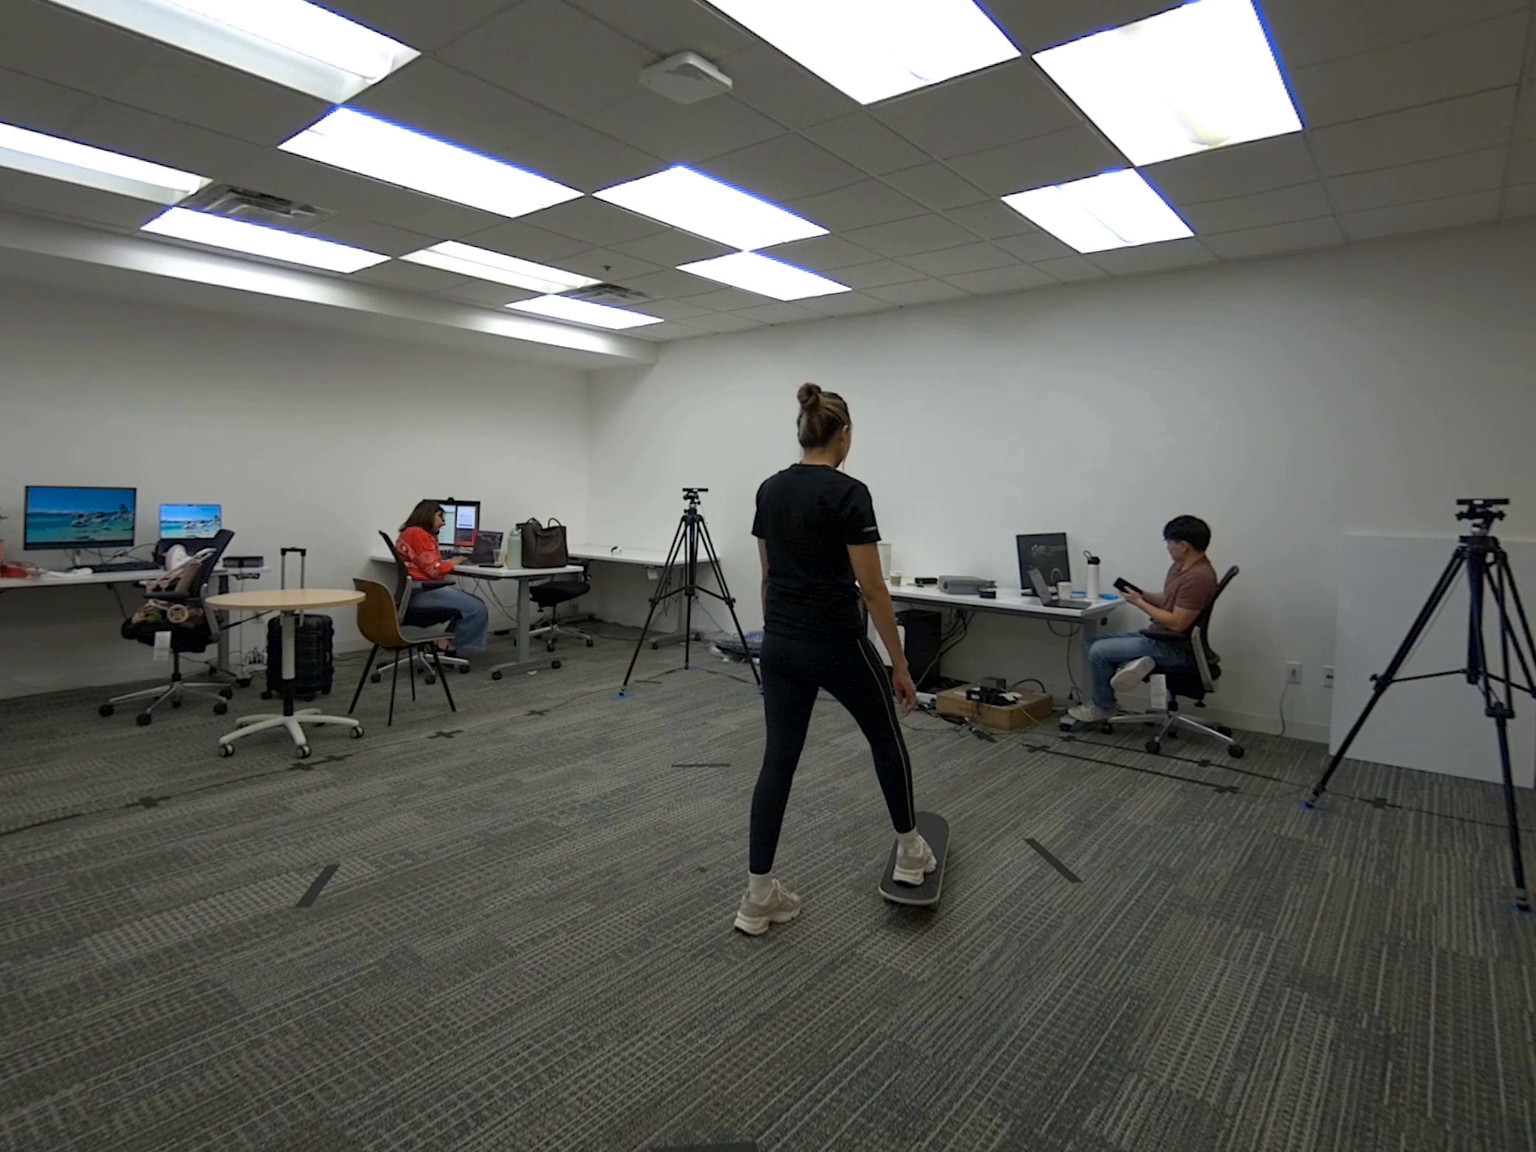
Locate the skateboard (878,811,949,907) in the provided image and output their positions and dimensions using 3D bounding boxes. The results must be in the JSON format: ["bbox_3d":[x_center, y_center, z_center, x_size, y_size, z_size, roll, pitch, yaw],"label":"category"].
[{"bbox_3d":[0.532,1.037,3.062,0.197,0.110,0.774,2,6,16],"label":"skateboard"}]
